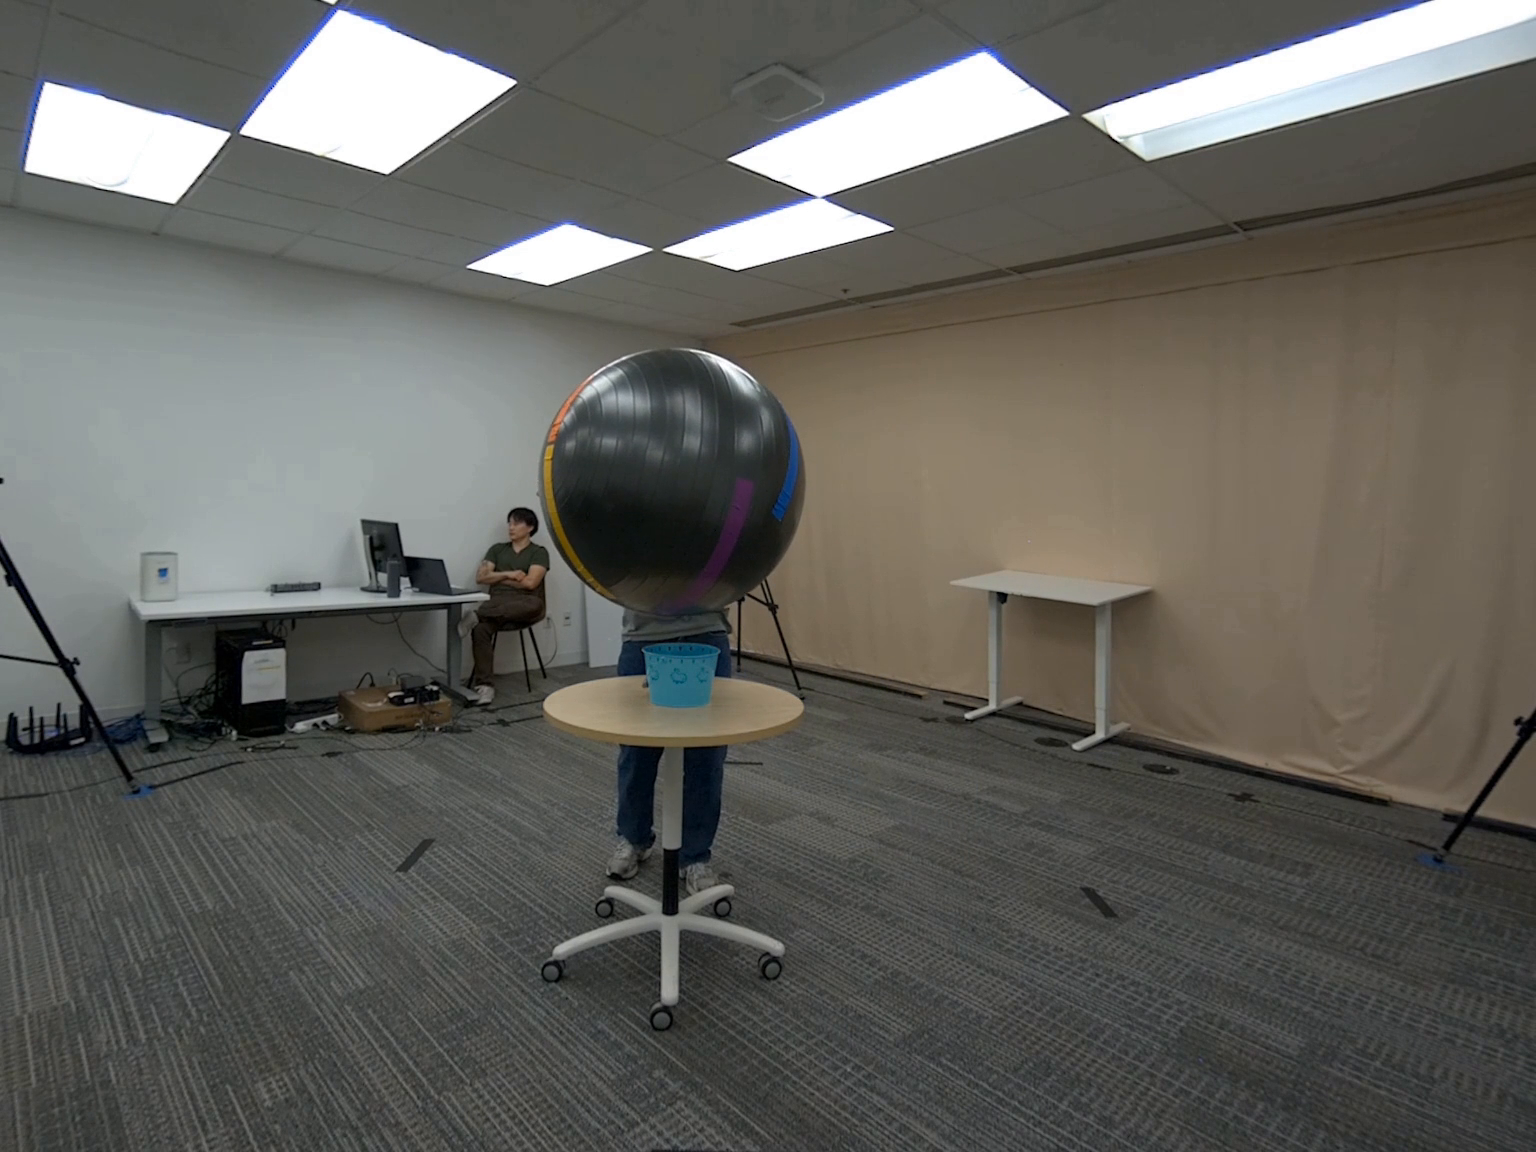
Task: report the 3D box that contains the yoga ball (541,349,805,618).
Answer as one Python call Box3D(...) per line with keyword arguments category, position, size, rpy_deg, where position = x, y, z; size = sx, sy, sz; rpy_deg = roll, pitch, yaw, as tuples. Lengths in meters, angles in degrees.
Box3D(category="yoga ball", position=(-0.277, -0.256, 2.411), size=(0.757, 0.756, 0.761), rpy_deg=(1, 4, -1))
